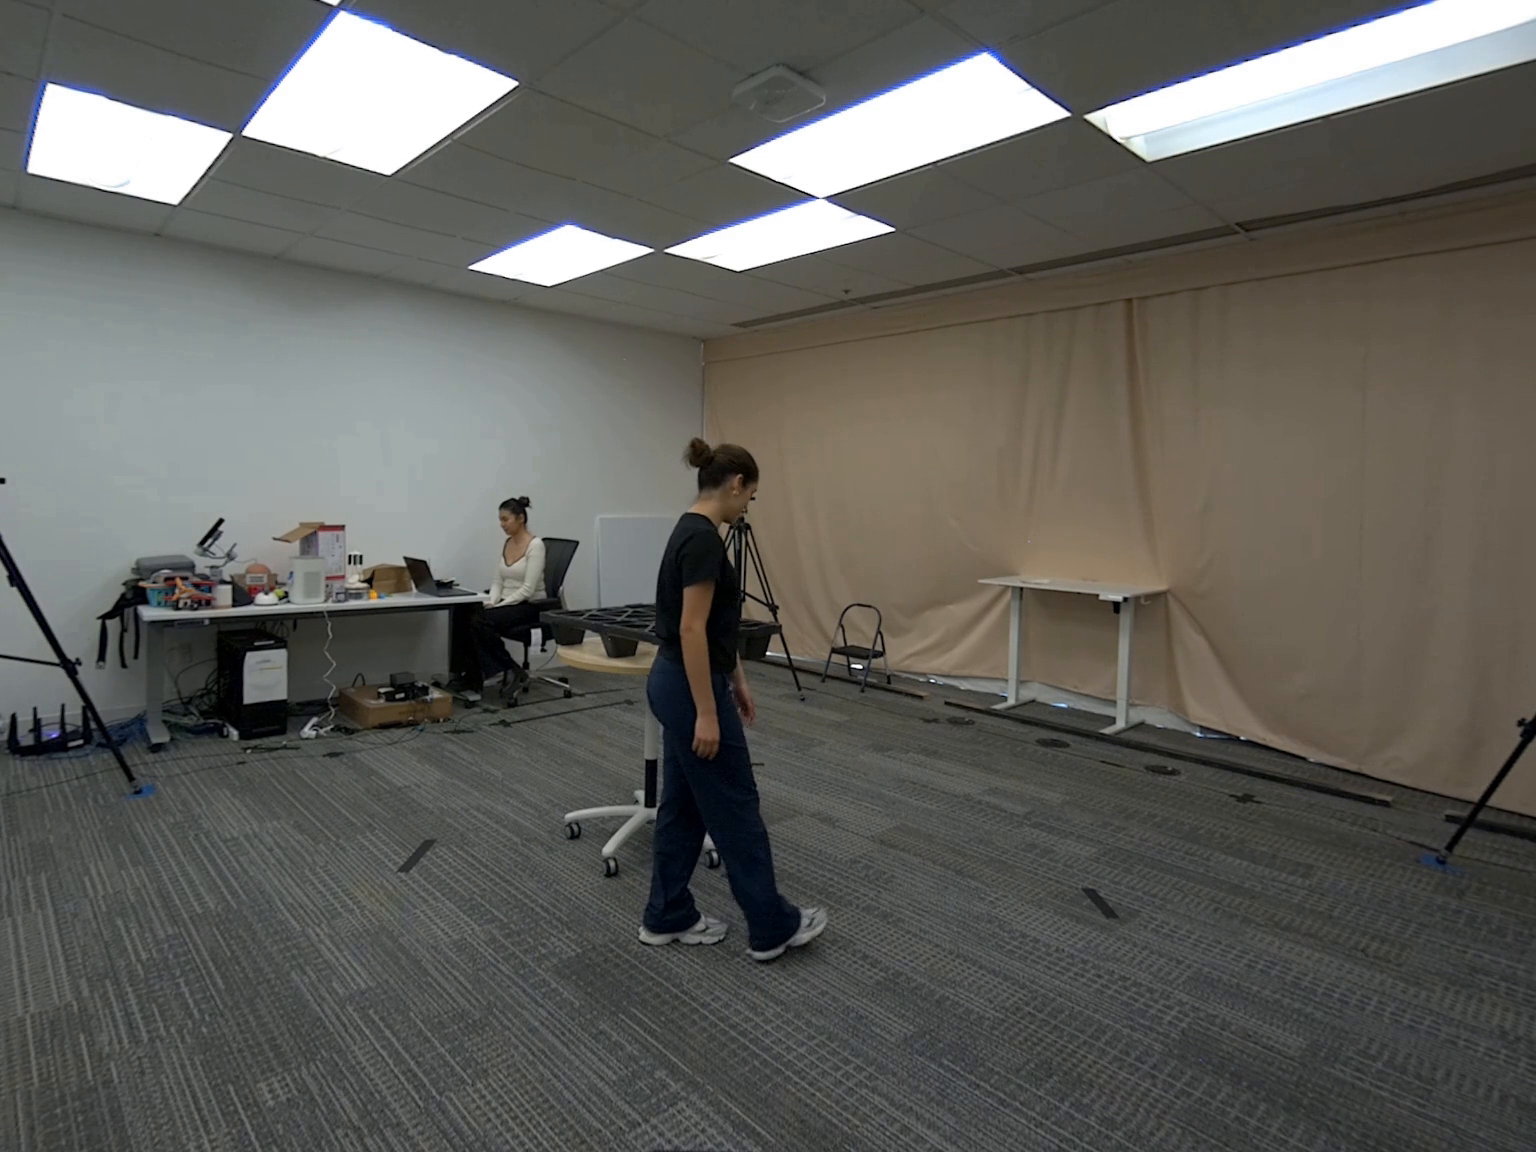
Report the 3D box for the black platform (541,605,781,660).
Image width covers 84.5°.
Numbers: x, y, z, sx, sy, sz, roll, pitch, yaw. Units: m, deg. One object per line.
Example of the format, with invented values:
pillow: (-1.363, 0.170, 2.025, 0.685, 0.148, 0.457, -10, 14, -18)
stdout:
black platform: (-0.439, 0.234, 3.333, 0.826, 0.143, 0.591, 7, 7, 42)
